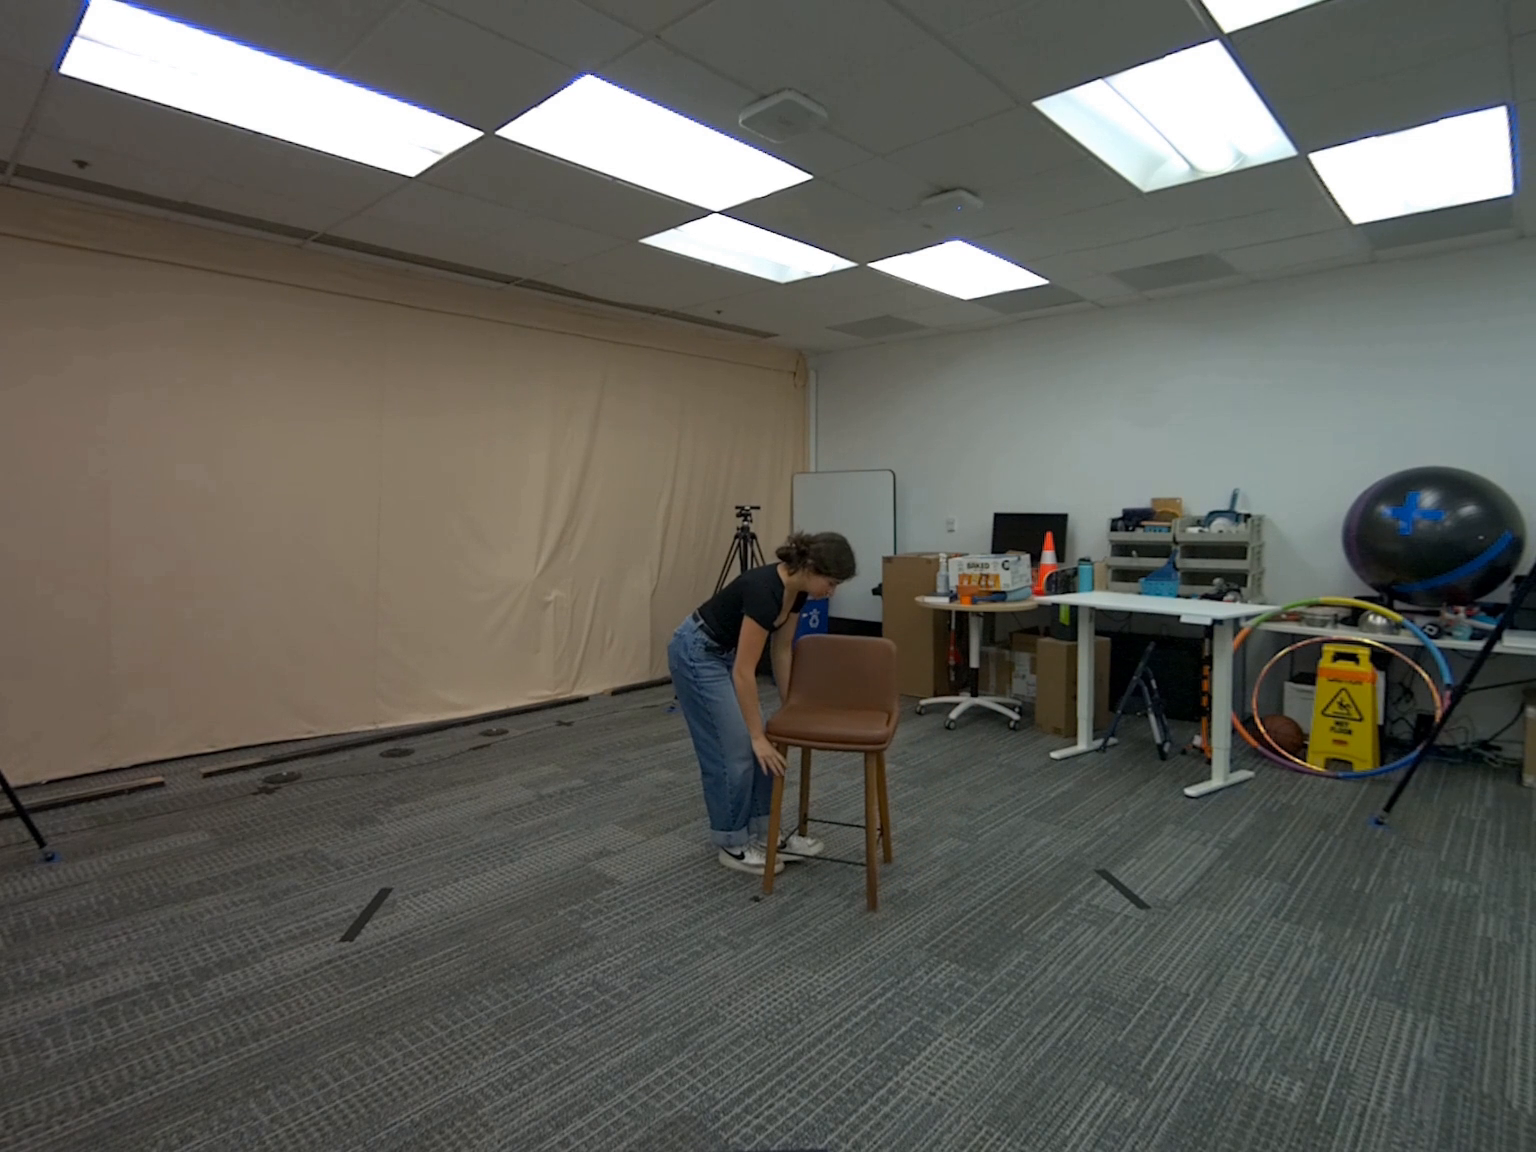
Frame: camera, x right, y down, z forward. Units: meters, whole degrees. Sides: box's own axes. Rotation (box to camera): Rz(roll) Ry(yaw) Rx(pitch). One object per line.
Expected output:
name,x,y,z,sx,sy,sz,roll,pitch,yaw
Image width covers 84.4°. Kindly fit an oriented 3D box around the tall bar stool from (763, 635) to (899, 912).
tall bar stool,0.256,0.699,3.137,0.466,0.888,0.458,2,3,20
